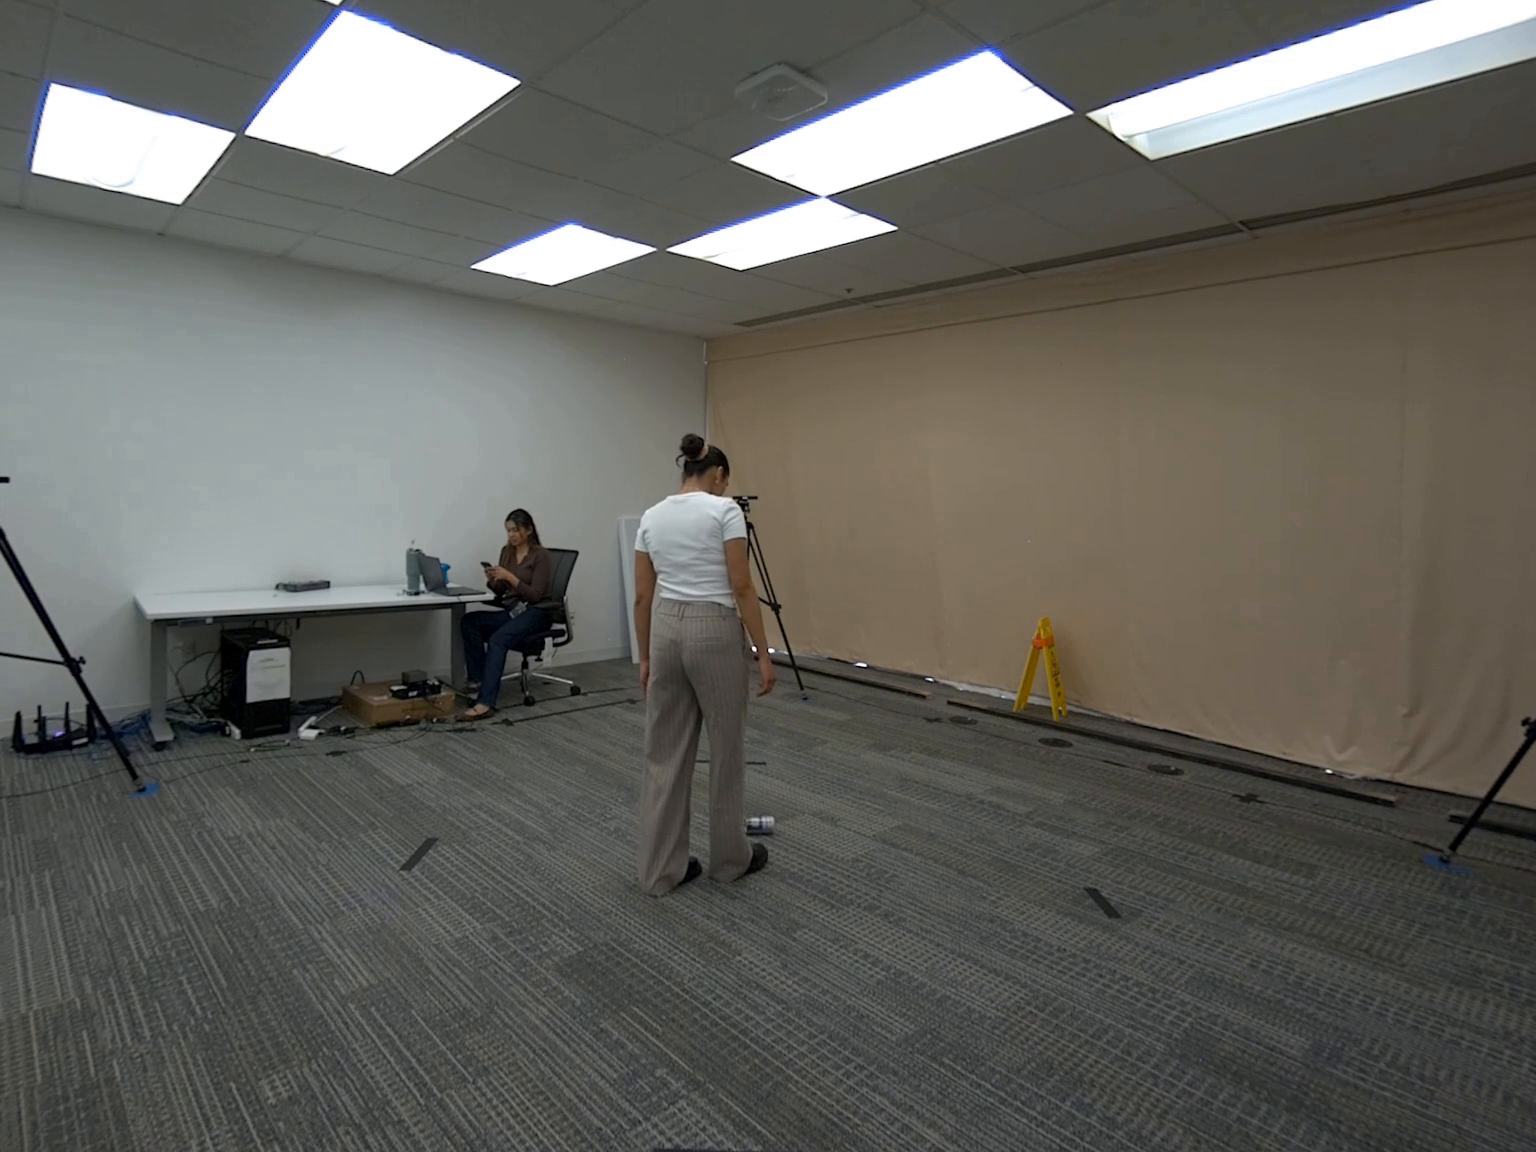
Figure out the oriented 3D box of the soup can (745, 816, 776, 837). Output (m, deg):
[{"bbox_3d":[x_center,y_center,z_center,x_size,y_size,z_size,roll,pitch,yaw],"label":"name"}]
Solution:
[{"bbox_3d":[-0.039,1.033,3.502,0.121,0.067,0.067,-2,5,-5],"label":"soup can"}]
